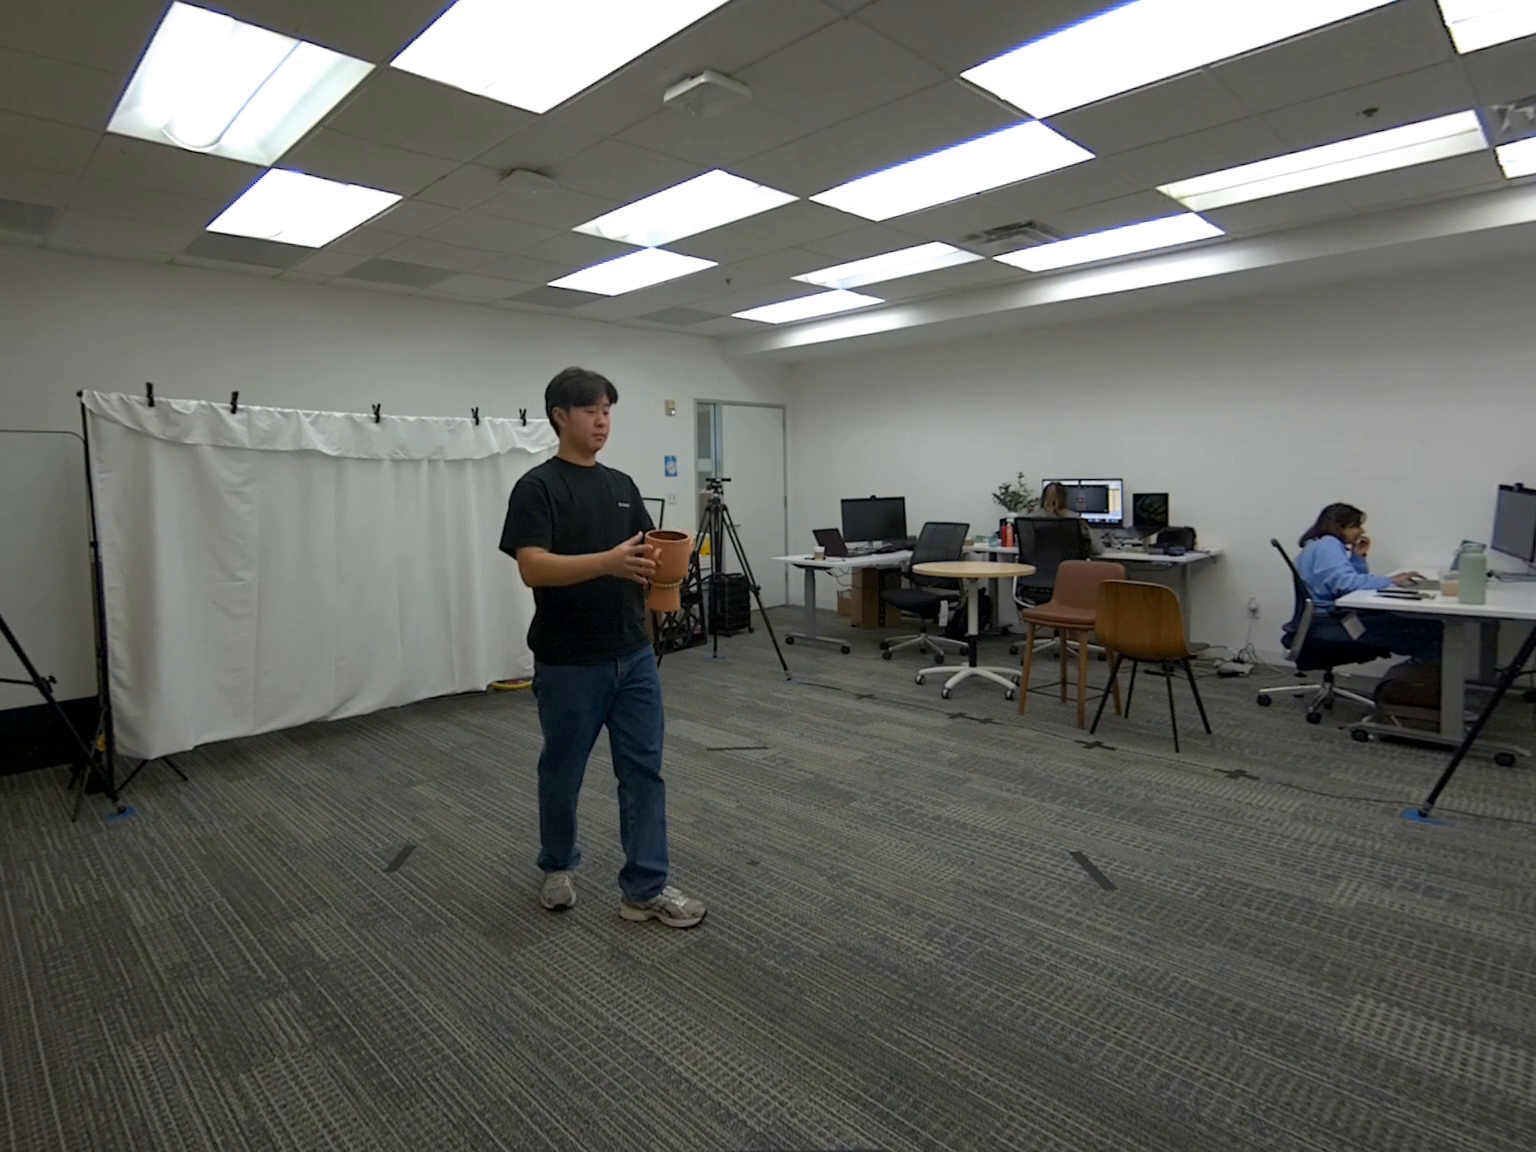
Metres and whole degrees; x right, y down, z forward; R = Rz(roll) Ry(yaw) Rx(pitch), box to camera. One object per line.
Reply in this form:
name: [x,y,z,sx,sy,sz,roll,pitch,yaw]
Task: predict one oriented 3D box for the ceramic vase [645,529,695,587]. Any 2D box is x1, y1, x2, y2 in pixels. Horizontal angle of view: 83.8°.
ceramic vase: [-0.308,-0.014,2.530,0.155,0.217,0.139,-8,19,-37]
